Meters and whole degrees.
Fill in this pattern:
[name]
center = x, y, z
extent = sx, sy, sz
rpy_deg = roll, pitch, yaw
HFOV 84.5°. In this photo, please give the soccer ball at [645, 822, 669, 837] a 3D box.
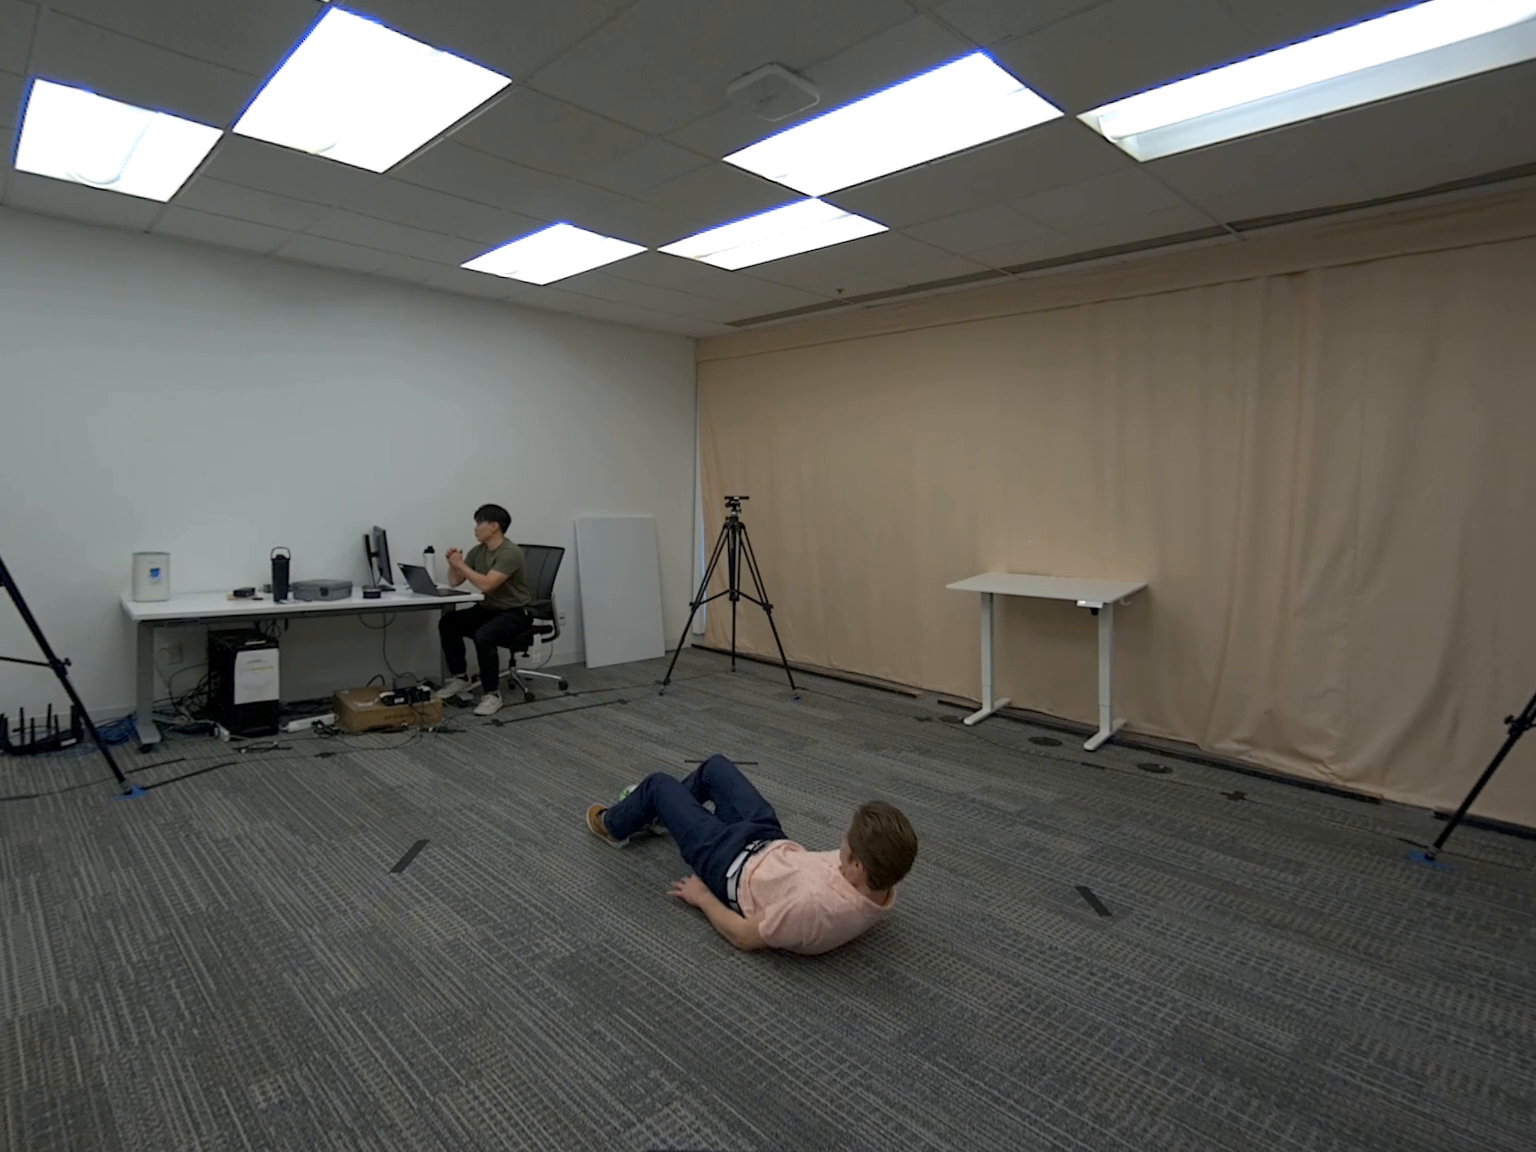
[soccer ball]
center = -0.524, 0.941, 3.419
extent = 0.187, 0.187, 0.188
rpy_deg = 1, 4, -1
